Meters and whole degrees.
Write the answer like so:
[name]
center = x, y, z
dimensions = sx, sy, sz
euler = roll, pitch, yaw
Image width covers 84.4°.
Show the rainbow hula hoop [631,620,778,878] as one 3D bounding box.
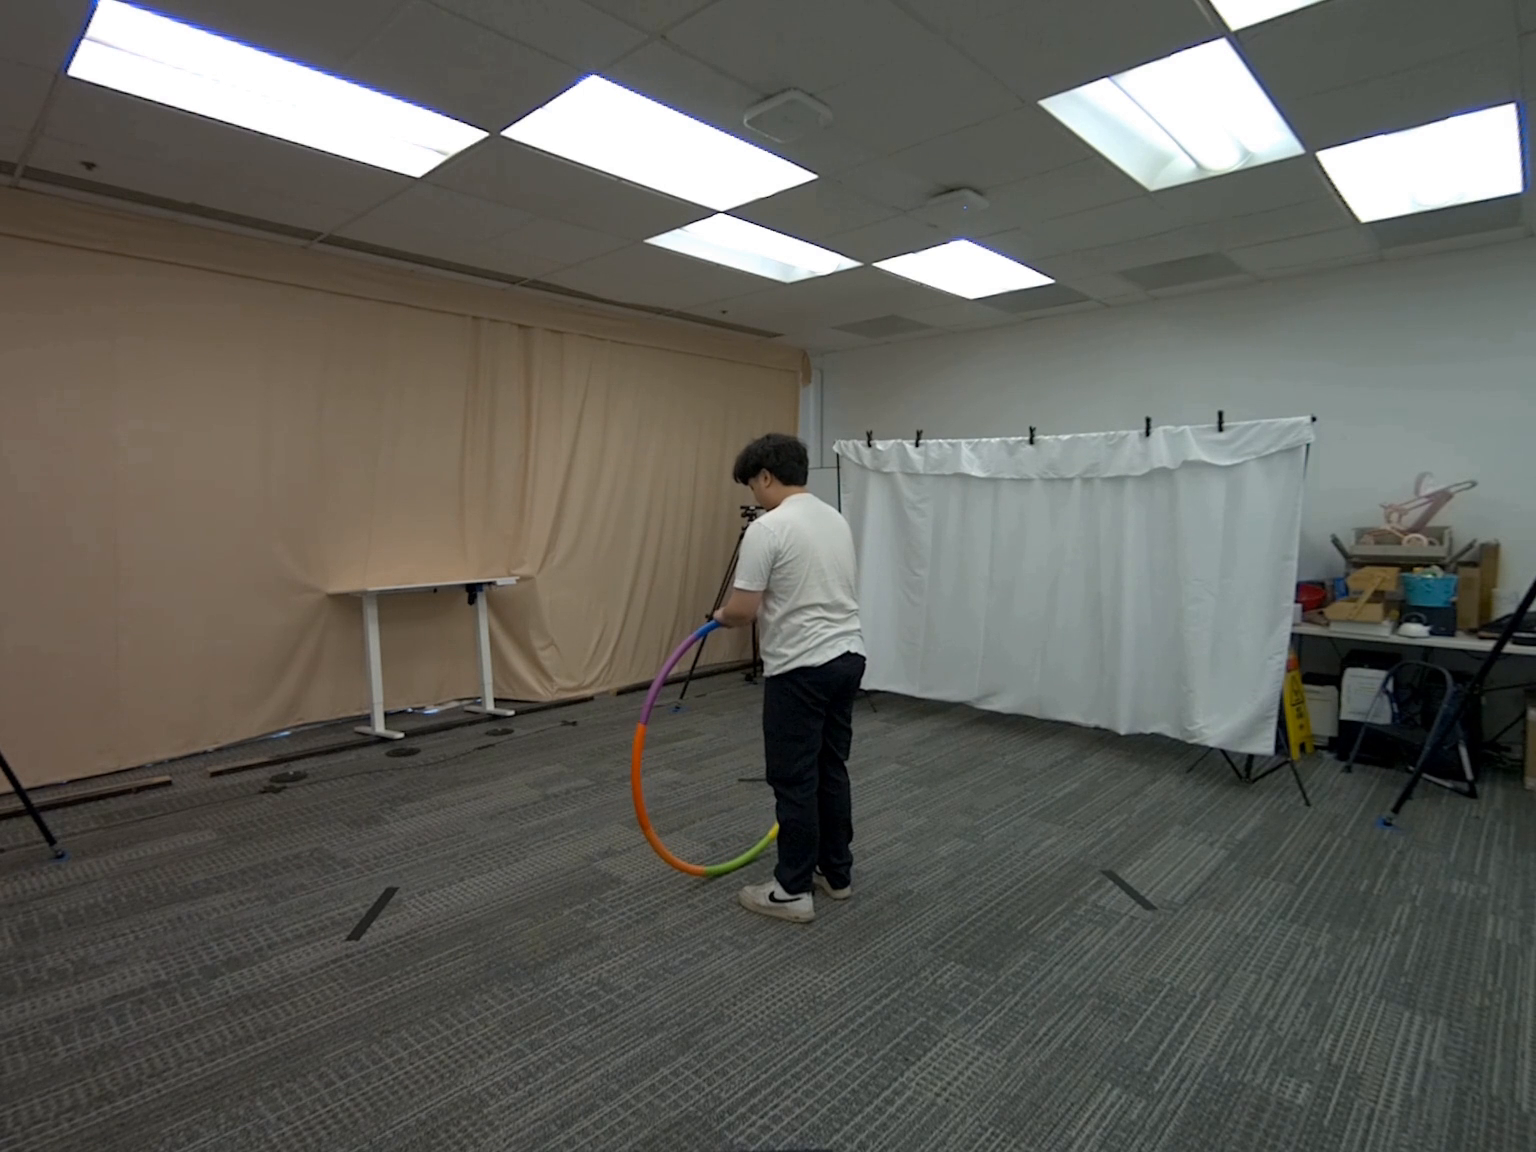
[rainbow hula hoop]
center = -0.129, 0.636, 3.198
dimensions = 0.053, 0.982, 0.955
euler = 5, 6, 44
